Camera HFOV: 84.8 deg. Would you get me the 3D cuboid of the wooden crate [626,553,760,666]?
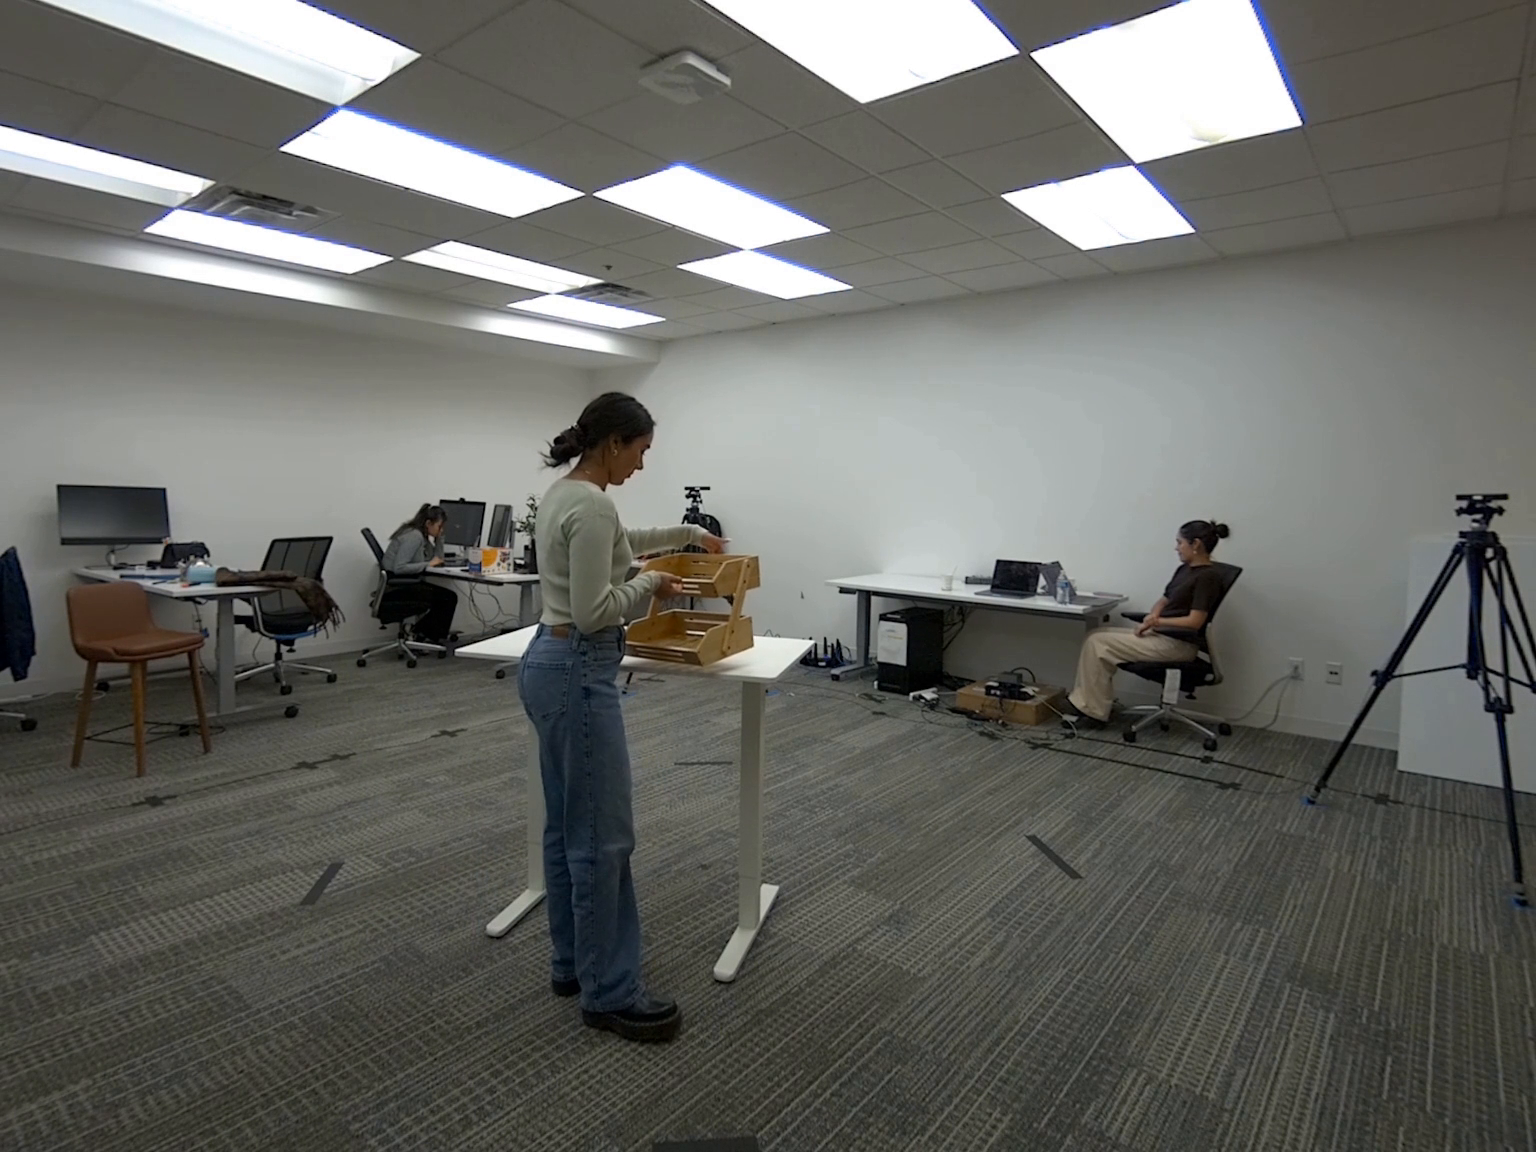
[{"bbox_3d":[-0.237,0.086,2.443,0.335,0.271,0.294,1,9,38],"label":"wooden crate"}]
